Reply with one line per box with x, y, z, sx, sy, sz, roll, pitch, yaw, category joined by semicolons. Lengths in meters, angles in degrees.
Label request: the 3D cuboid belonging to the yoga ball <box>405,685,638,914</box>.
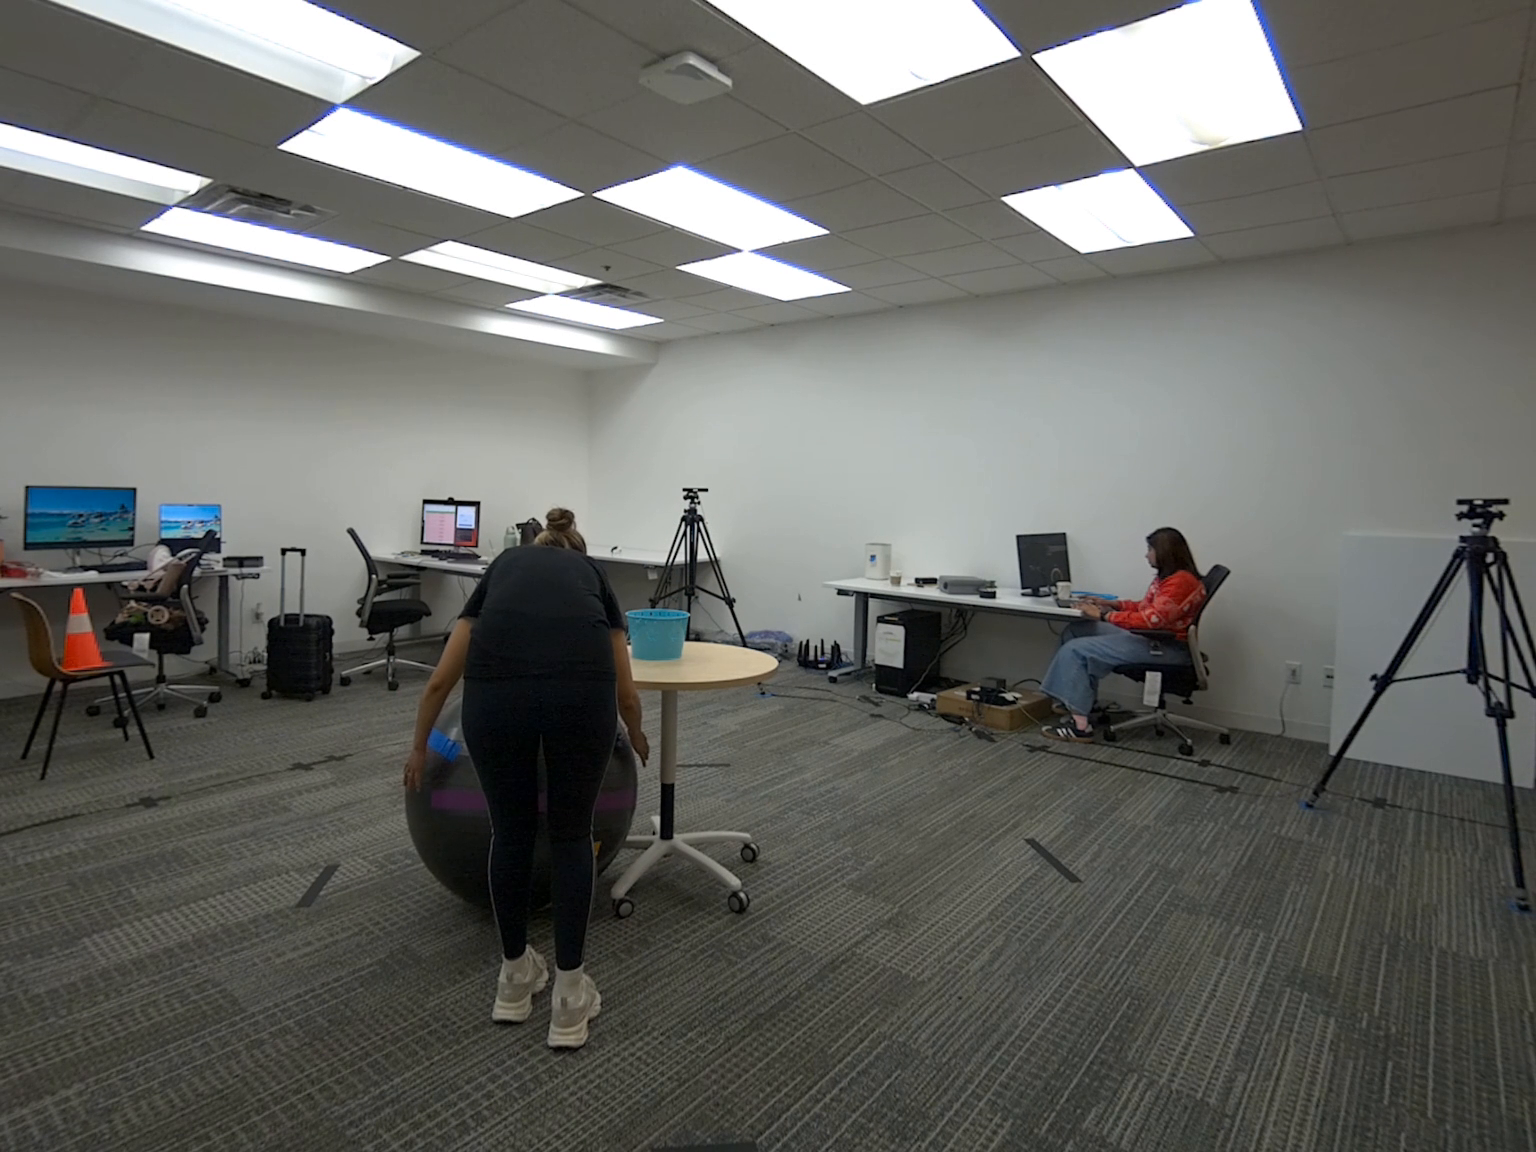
-0.841;0.721;2.848;0.757;0.756;0.761;1;4;-2;yoga ball
